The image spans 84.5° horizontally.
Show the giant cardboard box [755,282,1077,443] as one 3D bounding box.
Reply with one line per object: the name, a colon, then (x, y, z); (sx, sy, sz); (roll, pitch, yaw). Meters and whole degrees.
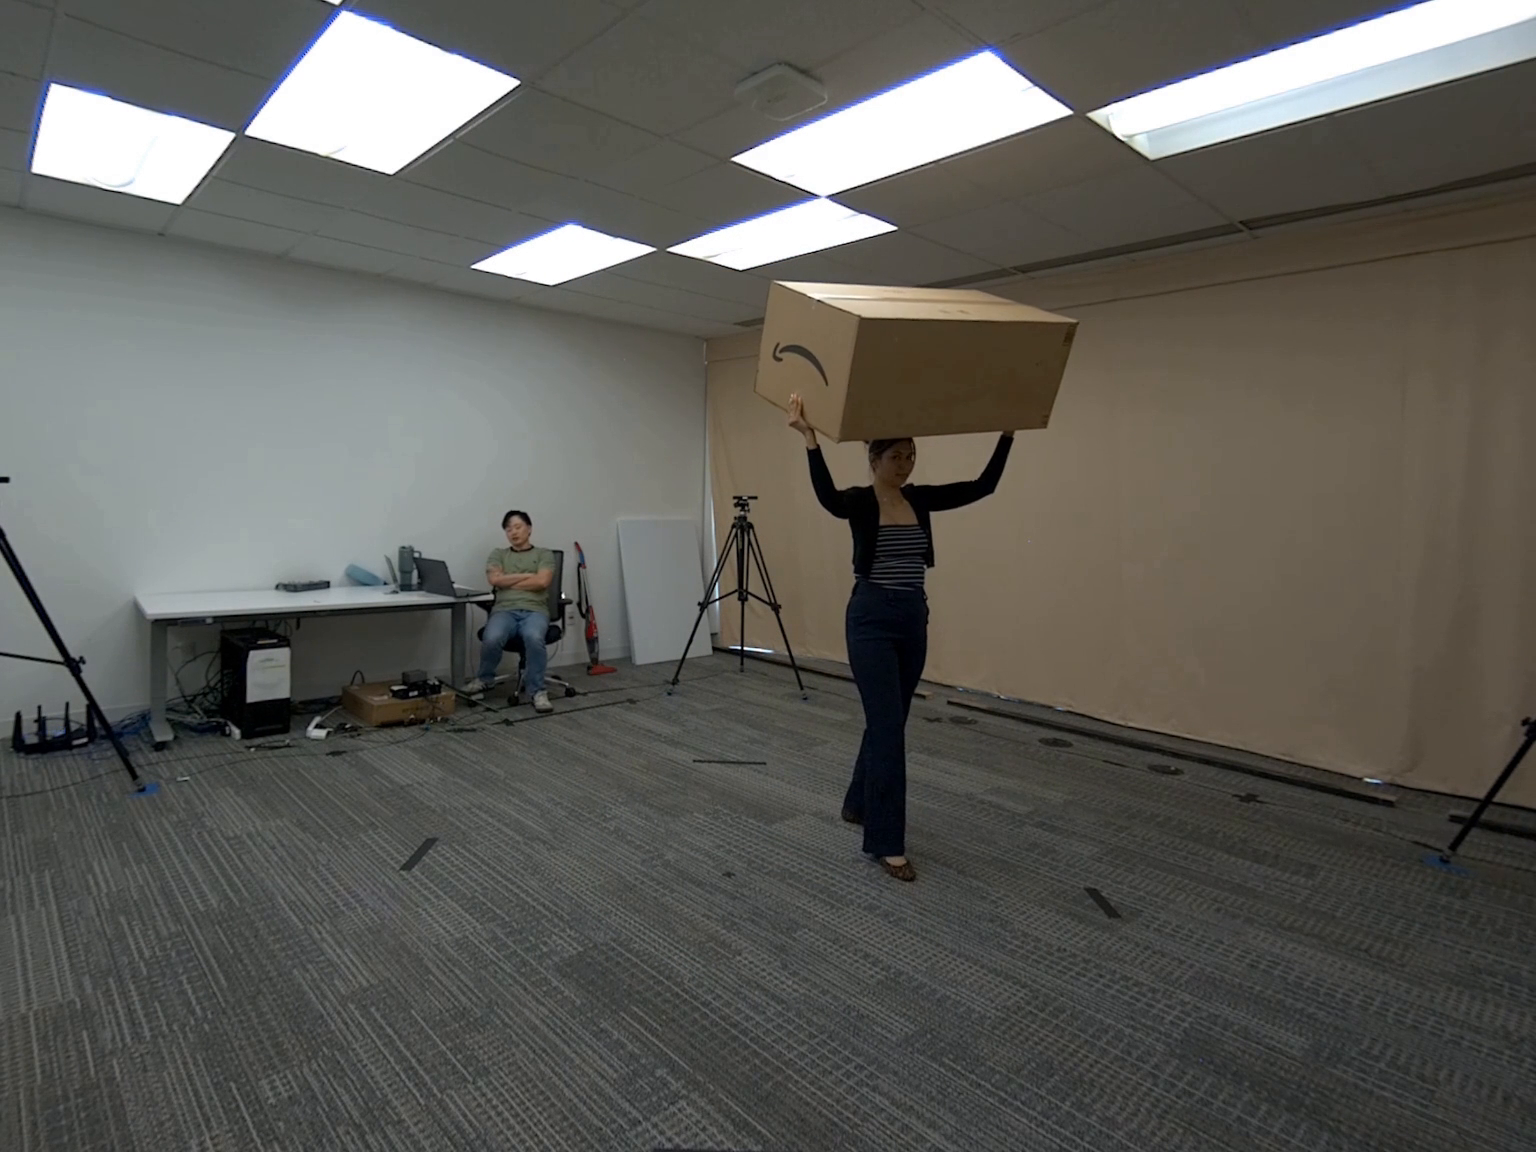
giant cardboard box: (0.540, -0.823, 3.196); (1.008, 0.420, 0.596); (-8, 31, -29)
